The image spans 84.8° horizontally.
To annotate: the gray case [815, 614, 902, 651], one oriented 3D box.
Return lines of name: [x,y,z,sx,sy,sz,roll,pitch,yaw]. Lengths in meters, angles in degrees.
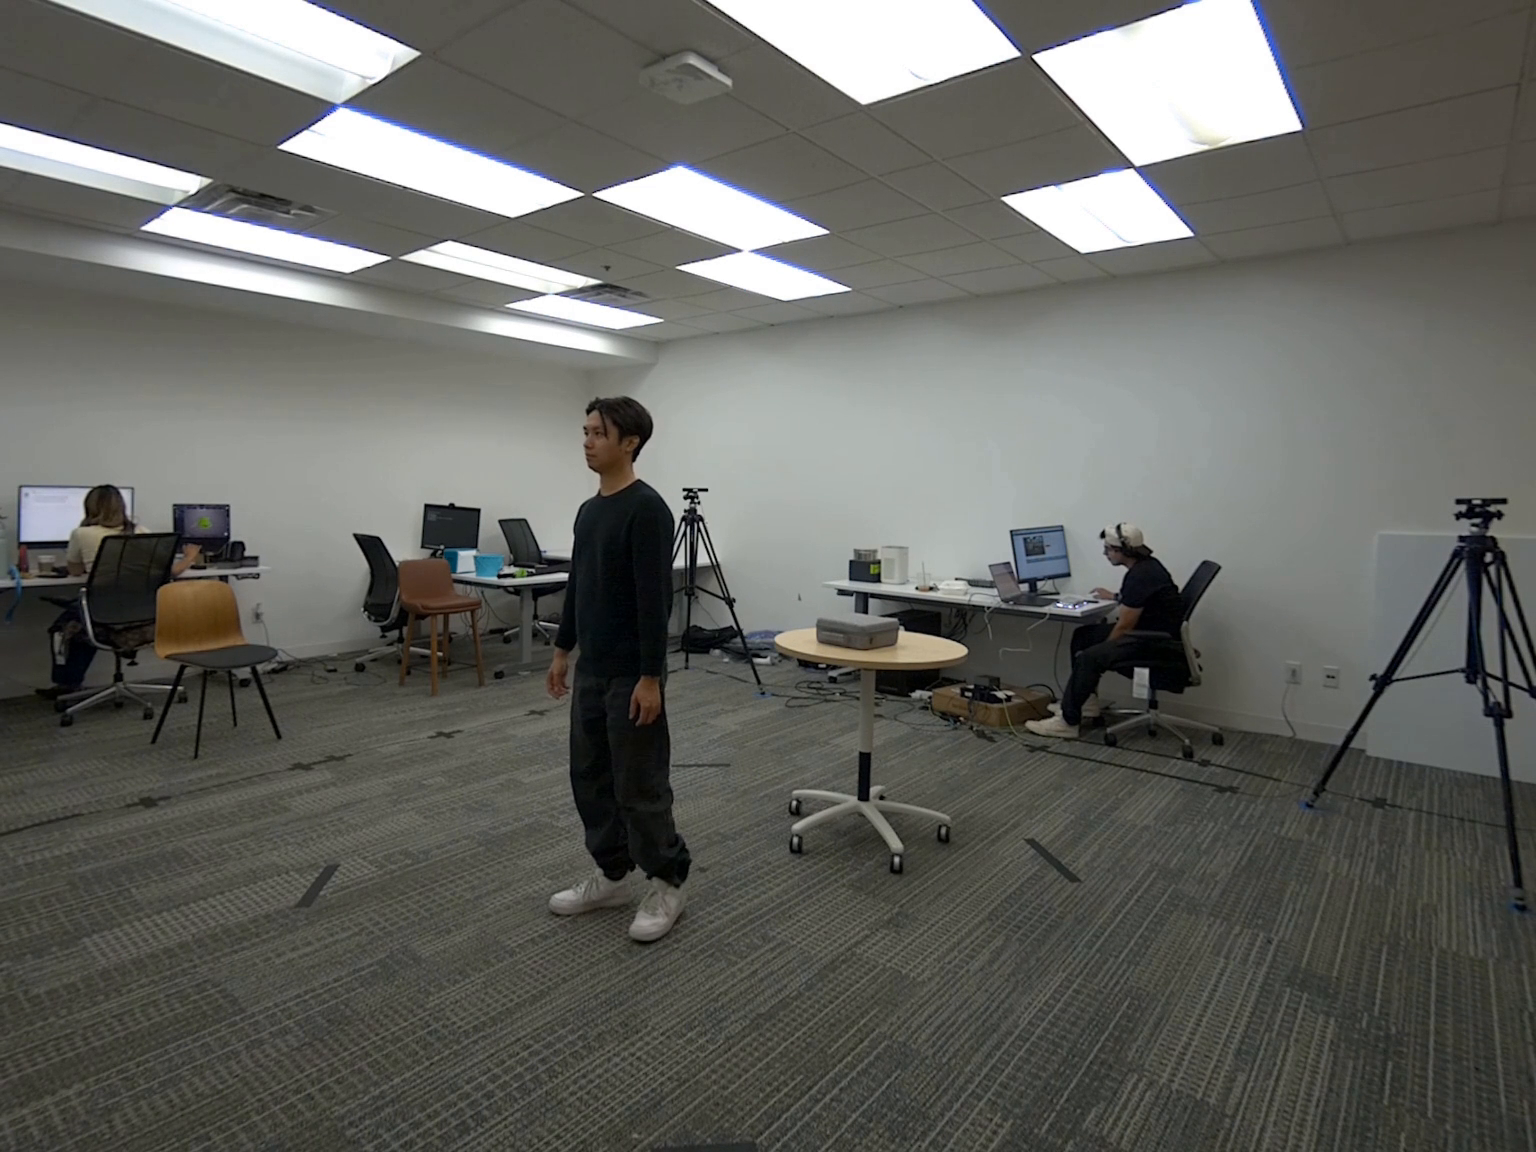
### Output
gray case: [0.348,0.213,3.414,0.253,0.104,0.266,-5,9,-45]
